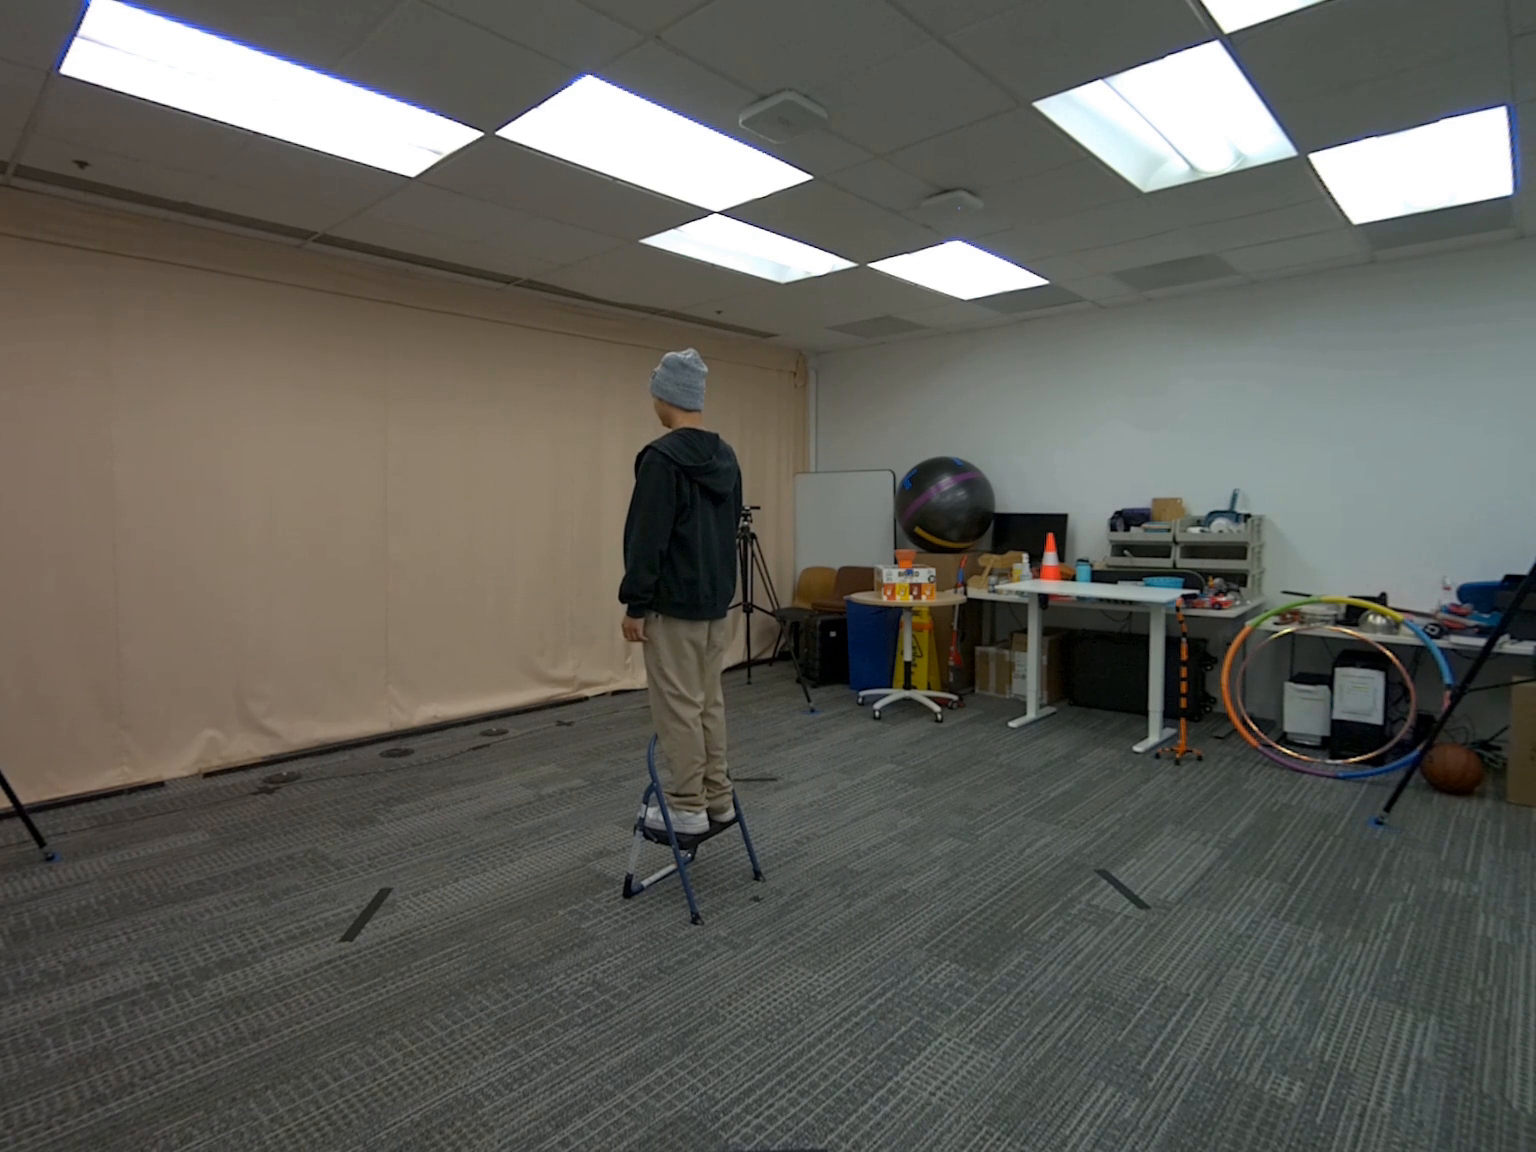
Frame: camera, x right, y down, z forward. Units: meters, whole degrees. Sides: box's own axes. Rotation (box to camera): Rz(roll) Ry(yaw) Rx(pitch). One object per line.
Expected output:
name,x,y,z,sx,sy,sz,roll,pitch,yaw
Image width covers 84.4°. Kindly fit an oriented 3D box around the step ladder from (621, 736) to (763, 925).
step ladder,-0.270,0.837,3.055,0.360,0.605,0.419,1,3,32
